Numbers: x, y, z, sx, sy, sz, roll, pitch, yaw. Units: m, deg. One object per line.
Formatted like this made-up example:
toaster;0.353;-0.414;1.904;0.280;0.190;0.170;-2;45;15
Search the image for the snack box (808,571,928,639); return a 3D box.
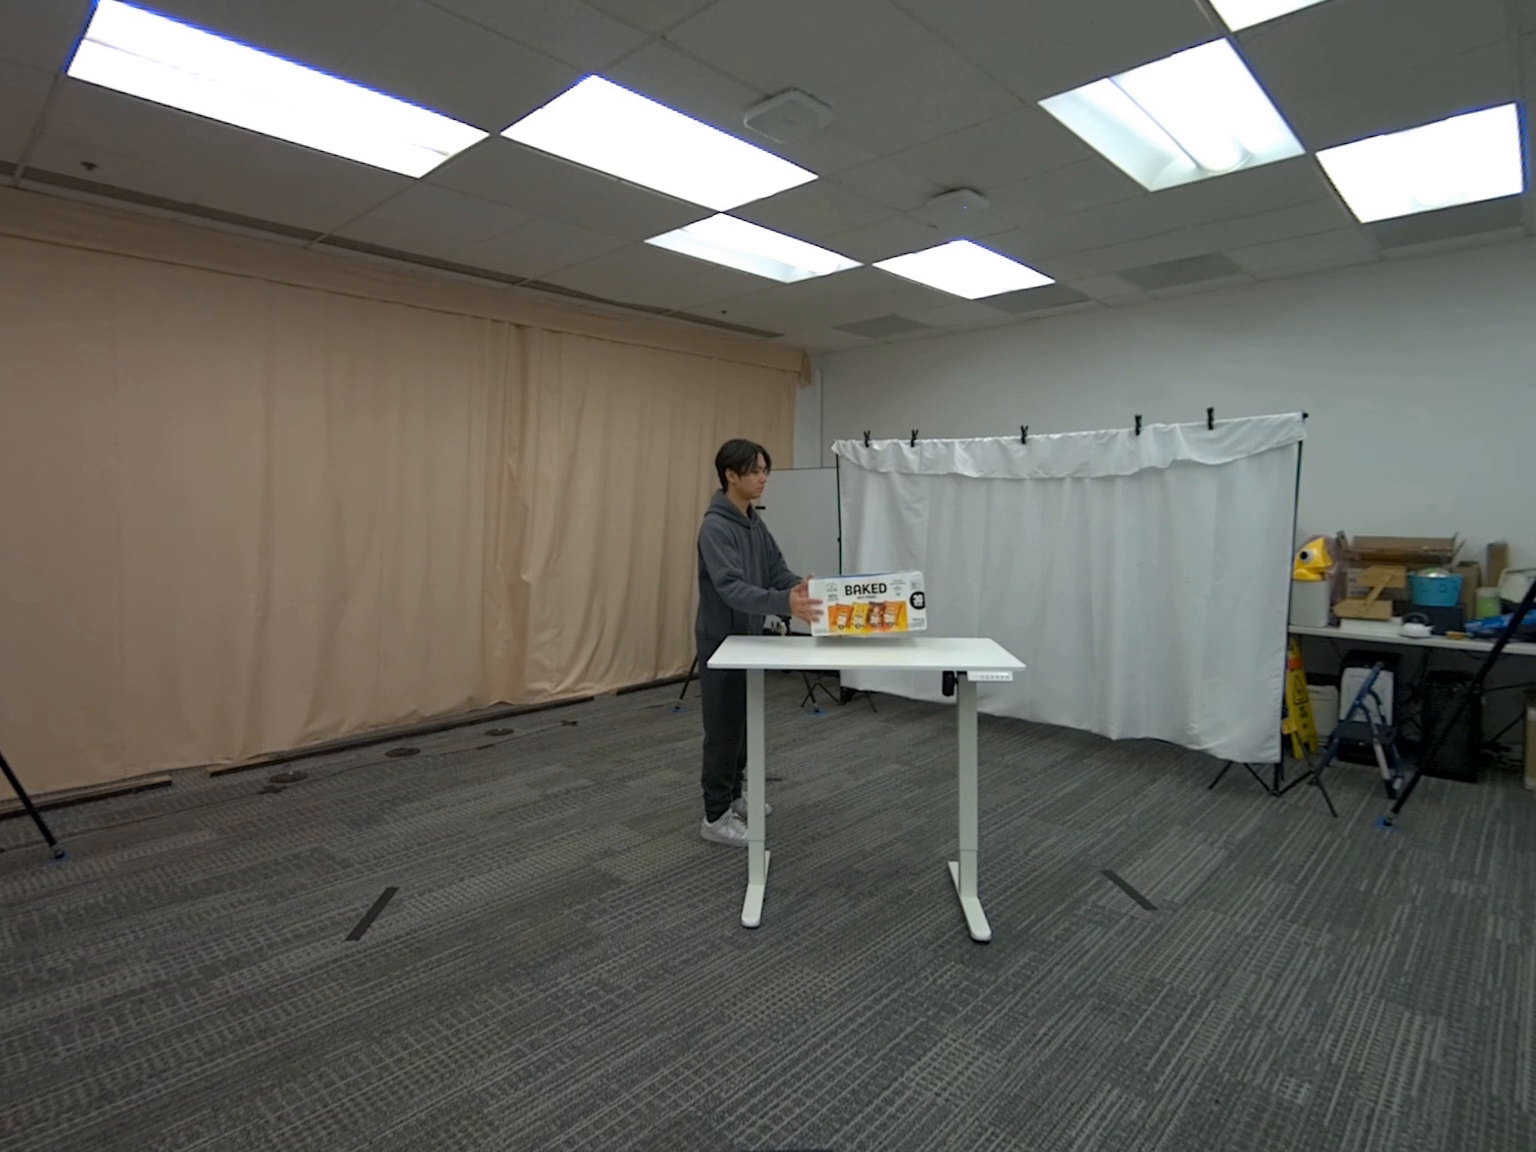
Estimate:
snack box;0.375;0.098;3.152;0.408;0.206;0.338;-4;1;7
